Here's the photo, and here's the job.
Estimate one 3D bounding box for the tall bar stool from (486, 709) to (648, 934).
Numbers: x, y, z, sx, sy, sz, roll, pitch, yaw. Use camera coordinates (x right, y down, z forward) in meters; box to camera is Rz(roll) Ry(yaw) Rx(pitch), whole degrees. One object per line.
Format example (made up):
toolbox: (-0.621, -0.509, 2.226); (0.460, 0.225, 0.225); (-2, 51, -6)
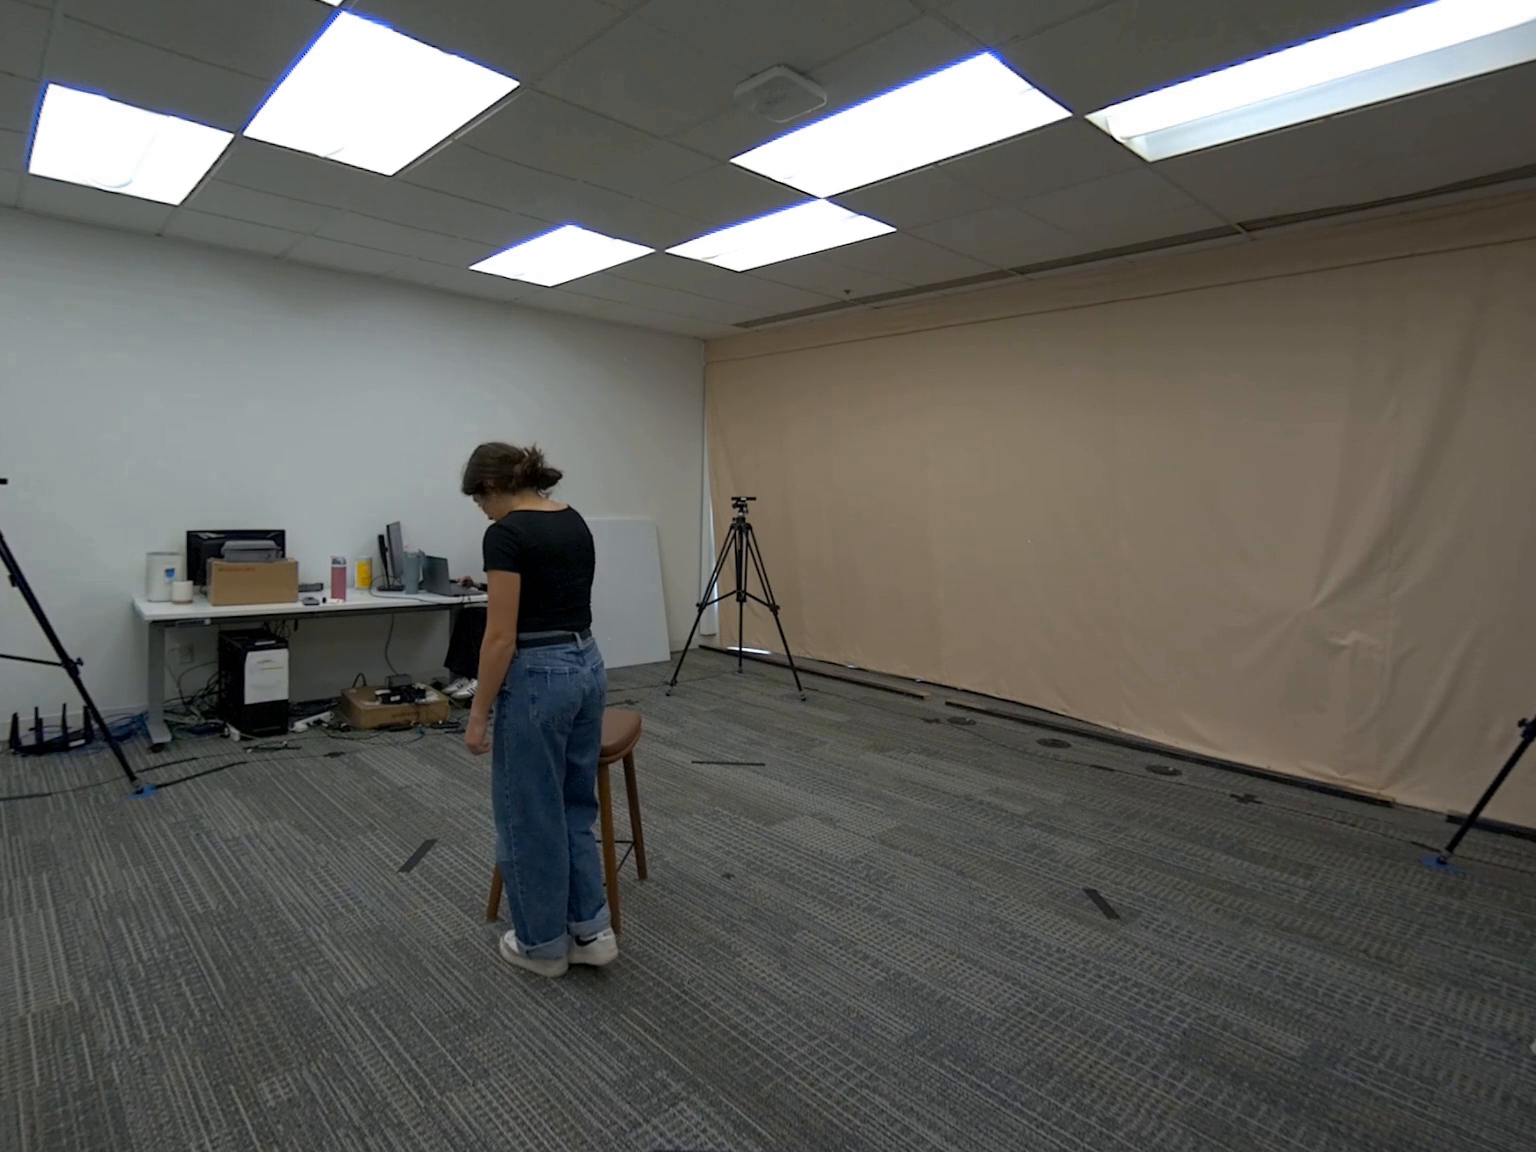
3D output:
tall bar stool: (-0.686, 0.678, 2.877); (0.470, 0.887, 0.455); (0, 3, 6)
